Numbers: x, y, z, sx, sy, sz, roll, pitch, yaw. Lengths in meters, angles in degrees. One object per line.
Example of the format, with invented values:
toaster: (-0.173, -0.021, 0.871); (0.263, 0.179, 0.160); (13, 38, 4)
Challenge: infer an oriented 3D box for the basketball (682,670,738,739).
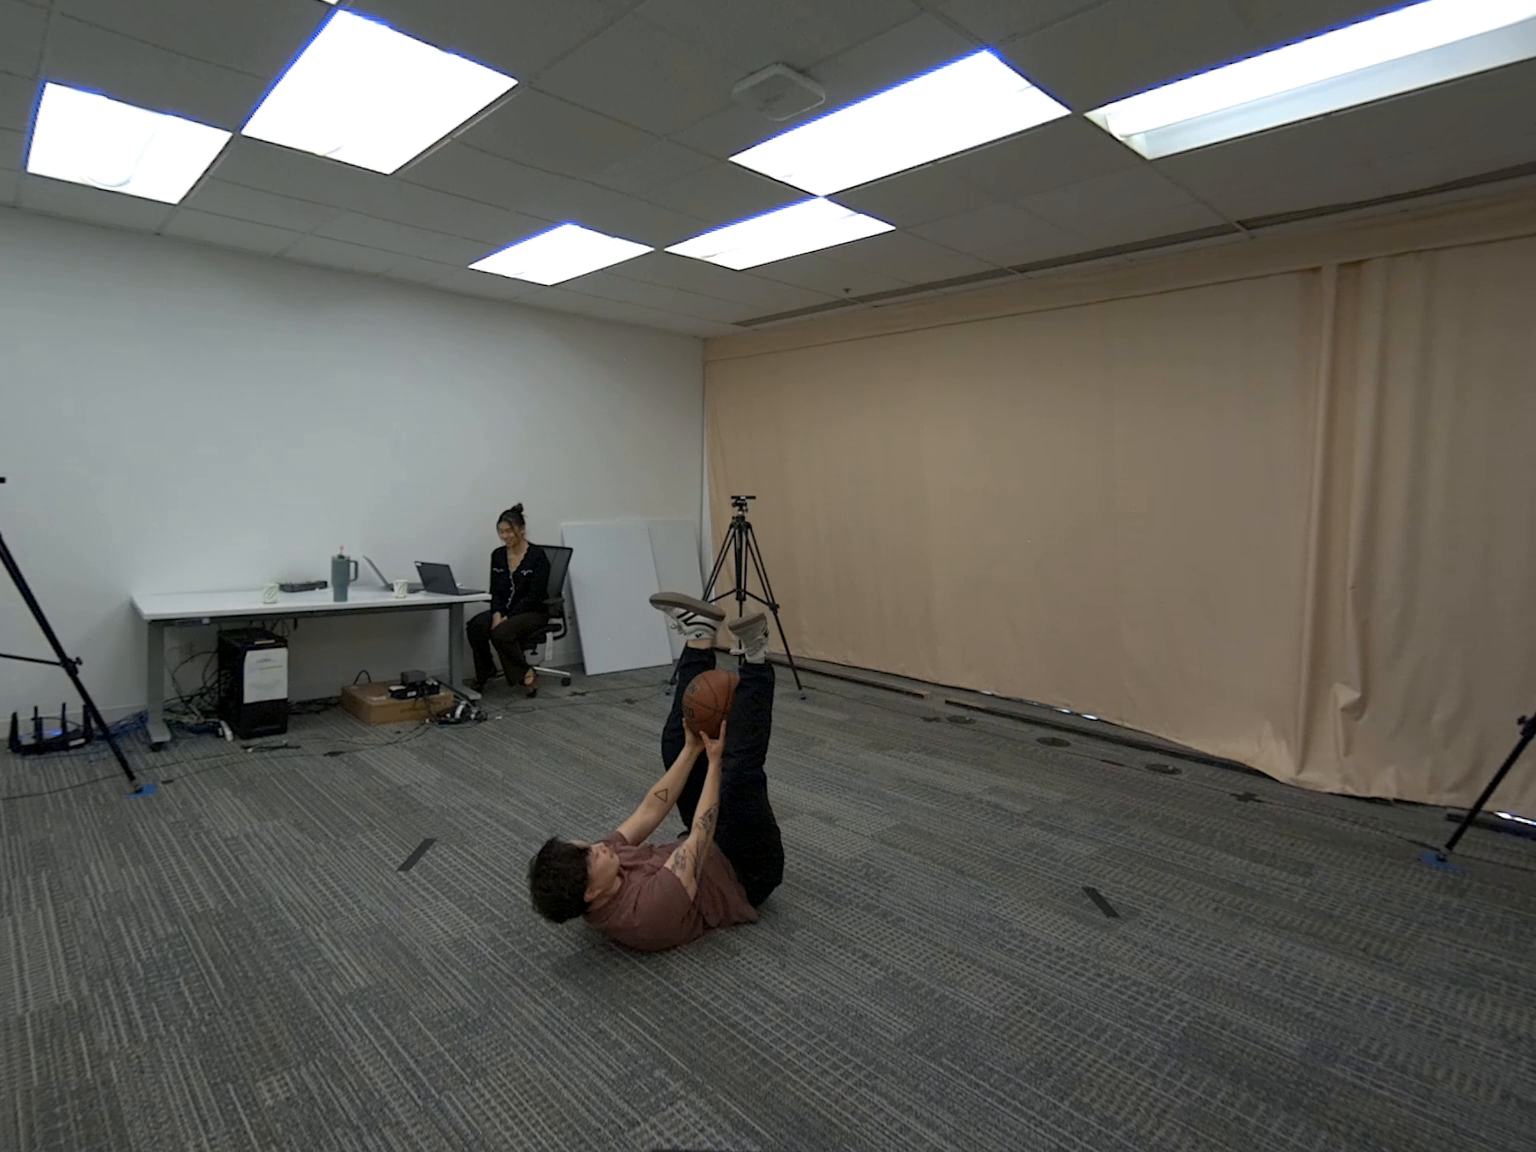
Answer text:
basketball: (-0.180, 0.441, 2.880); (0.236, 0.235, 0.237); (2, 4, -2)
